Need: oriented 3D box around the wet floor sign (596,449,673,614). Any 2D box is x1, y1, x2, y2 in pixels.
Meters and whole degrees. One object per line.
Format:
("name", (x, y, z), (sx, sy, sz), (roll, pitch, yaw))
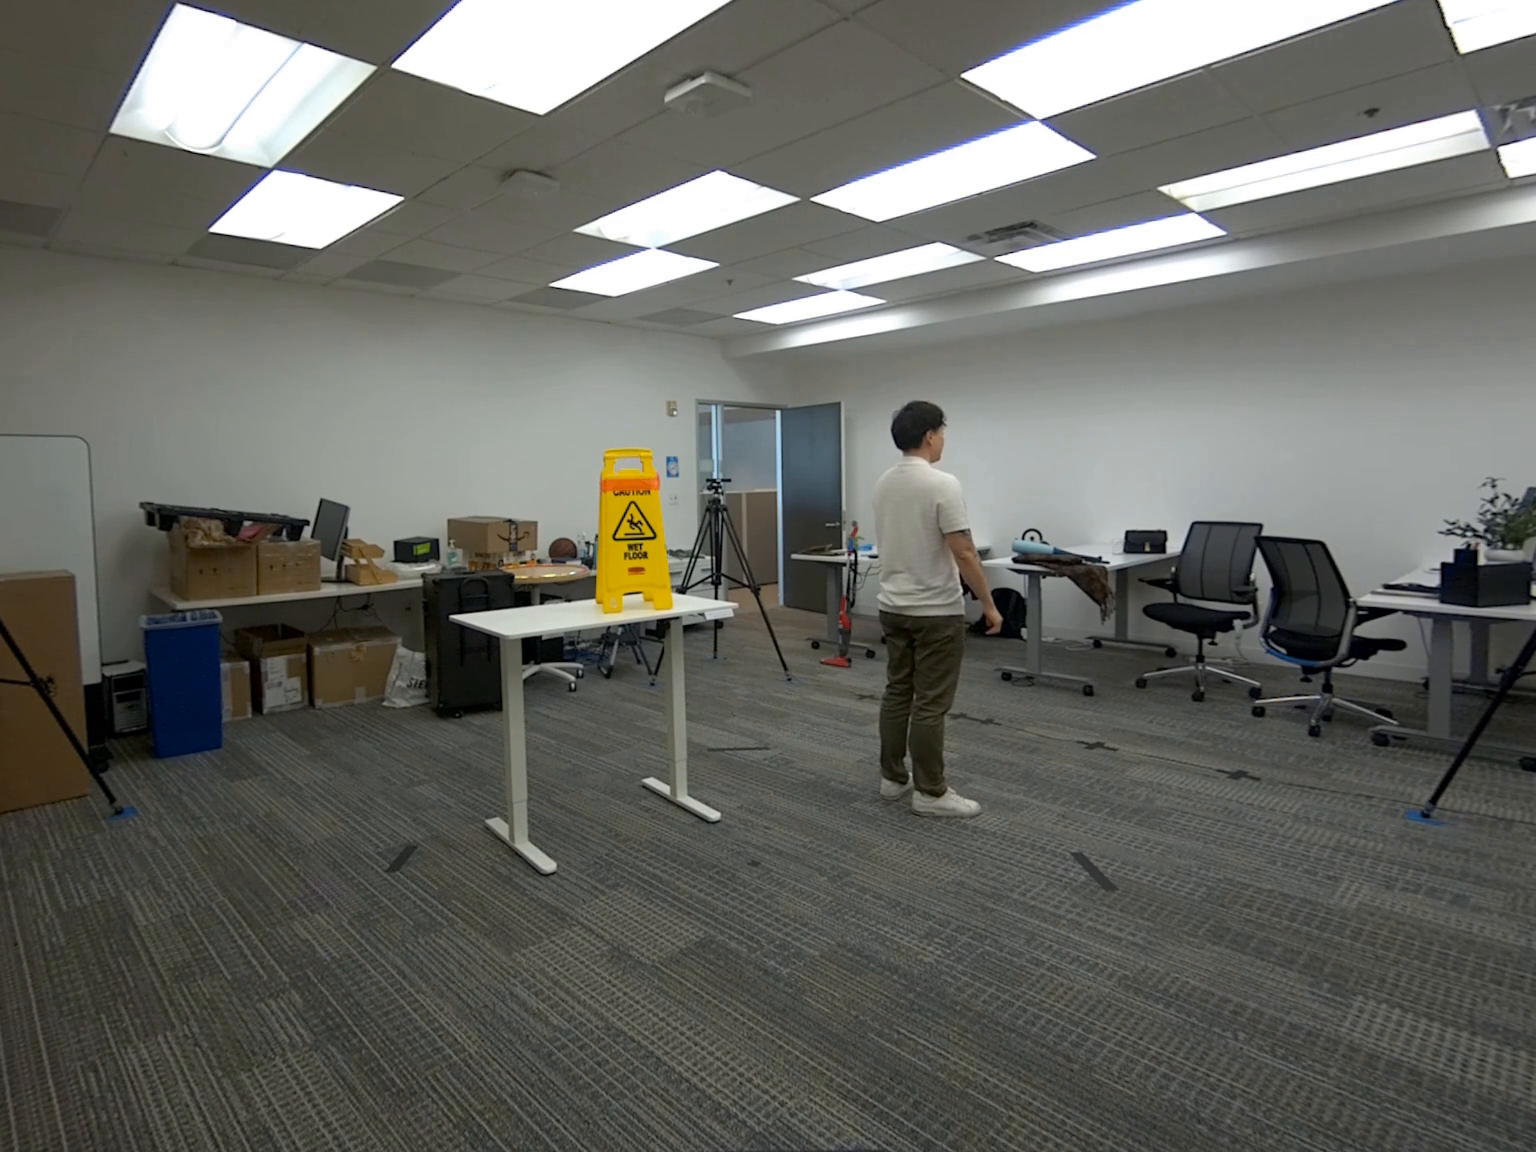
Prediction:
("wet floor sign", (-0.565, -0.194, 3.497), (0.279, 0.643, 0.295), (-4, 5, -15))
